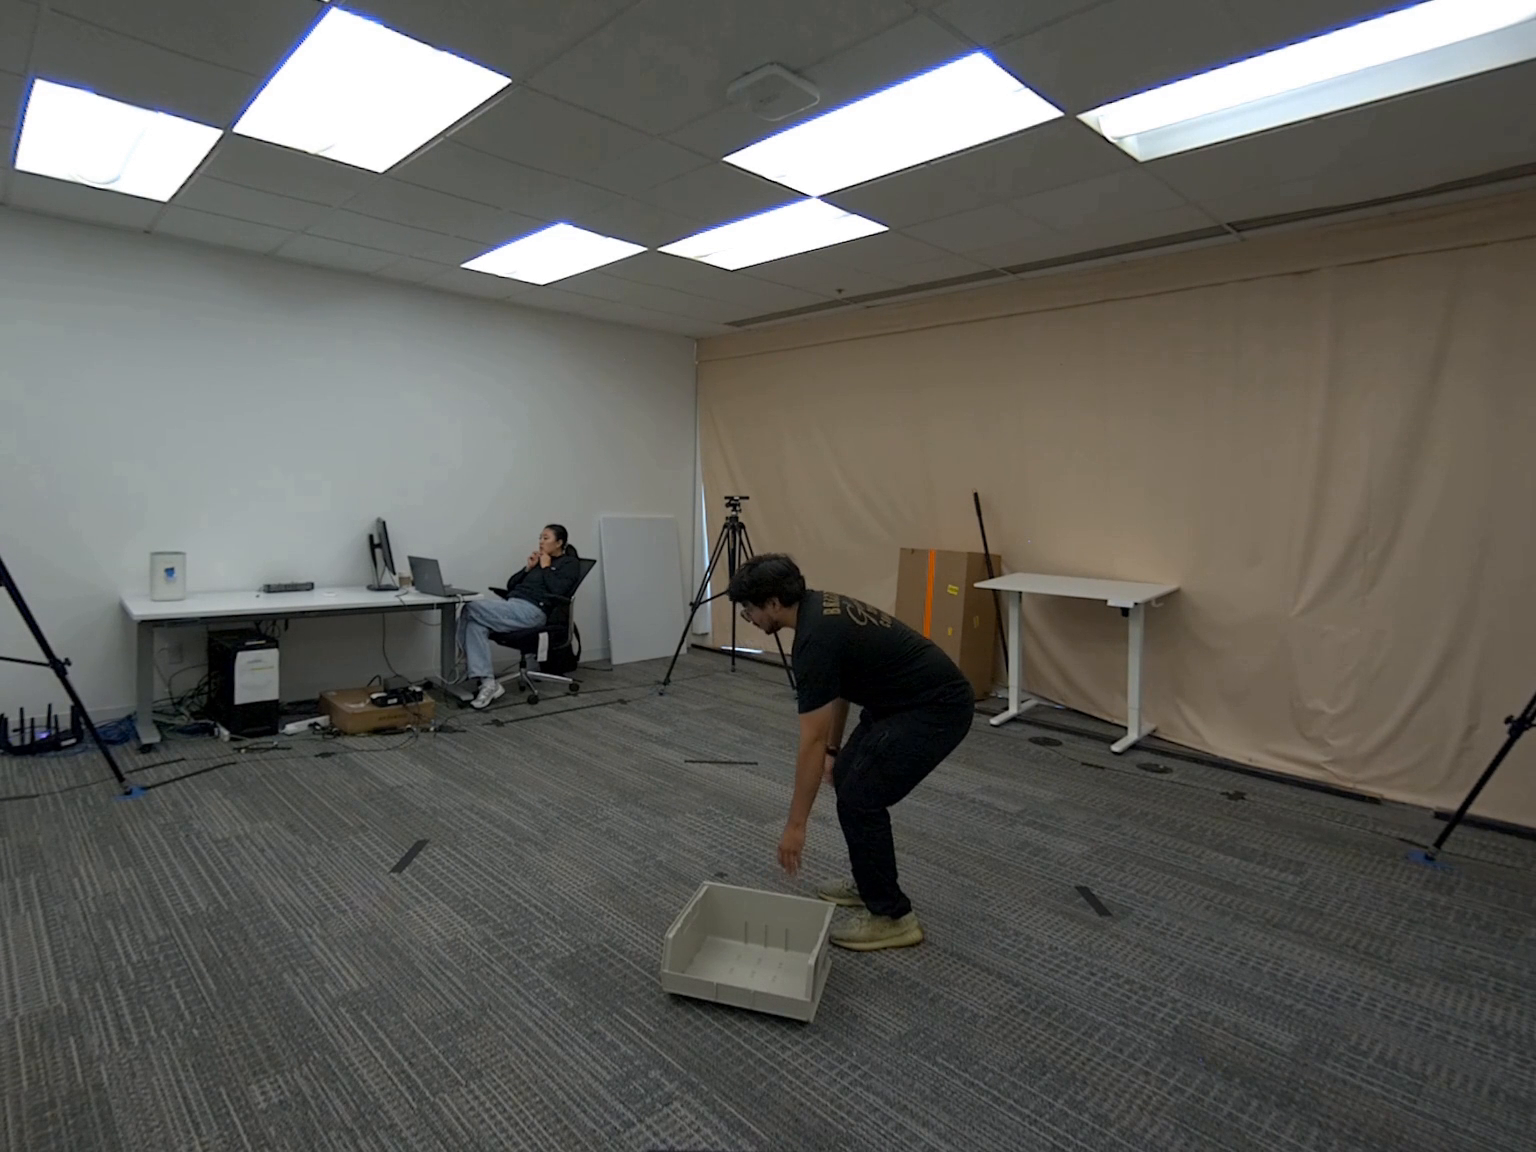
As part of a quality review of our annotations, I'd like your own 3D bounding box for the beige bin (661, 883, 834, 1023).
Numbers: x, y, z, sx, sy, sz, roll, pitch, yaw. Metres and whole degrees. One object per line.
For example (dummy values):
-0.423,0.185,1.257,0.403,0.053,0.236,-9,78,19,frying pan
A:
-0.048,1.084,2.414,0.428,0.188,0.373,2,4,15,beige bin
